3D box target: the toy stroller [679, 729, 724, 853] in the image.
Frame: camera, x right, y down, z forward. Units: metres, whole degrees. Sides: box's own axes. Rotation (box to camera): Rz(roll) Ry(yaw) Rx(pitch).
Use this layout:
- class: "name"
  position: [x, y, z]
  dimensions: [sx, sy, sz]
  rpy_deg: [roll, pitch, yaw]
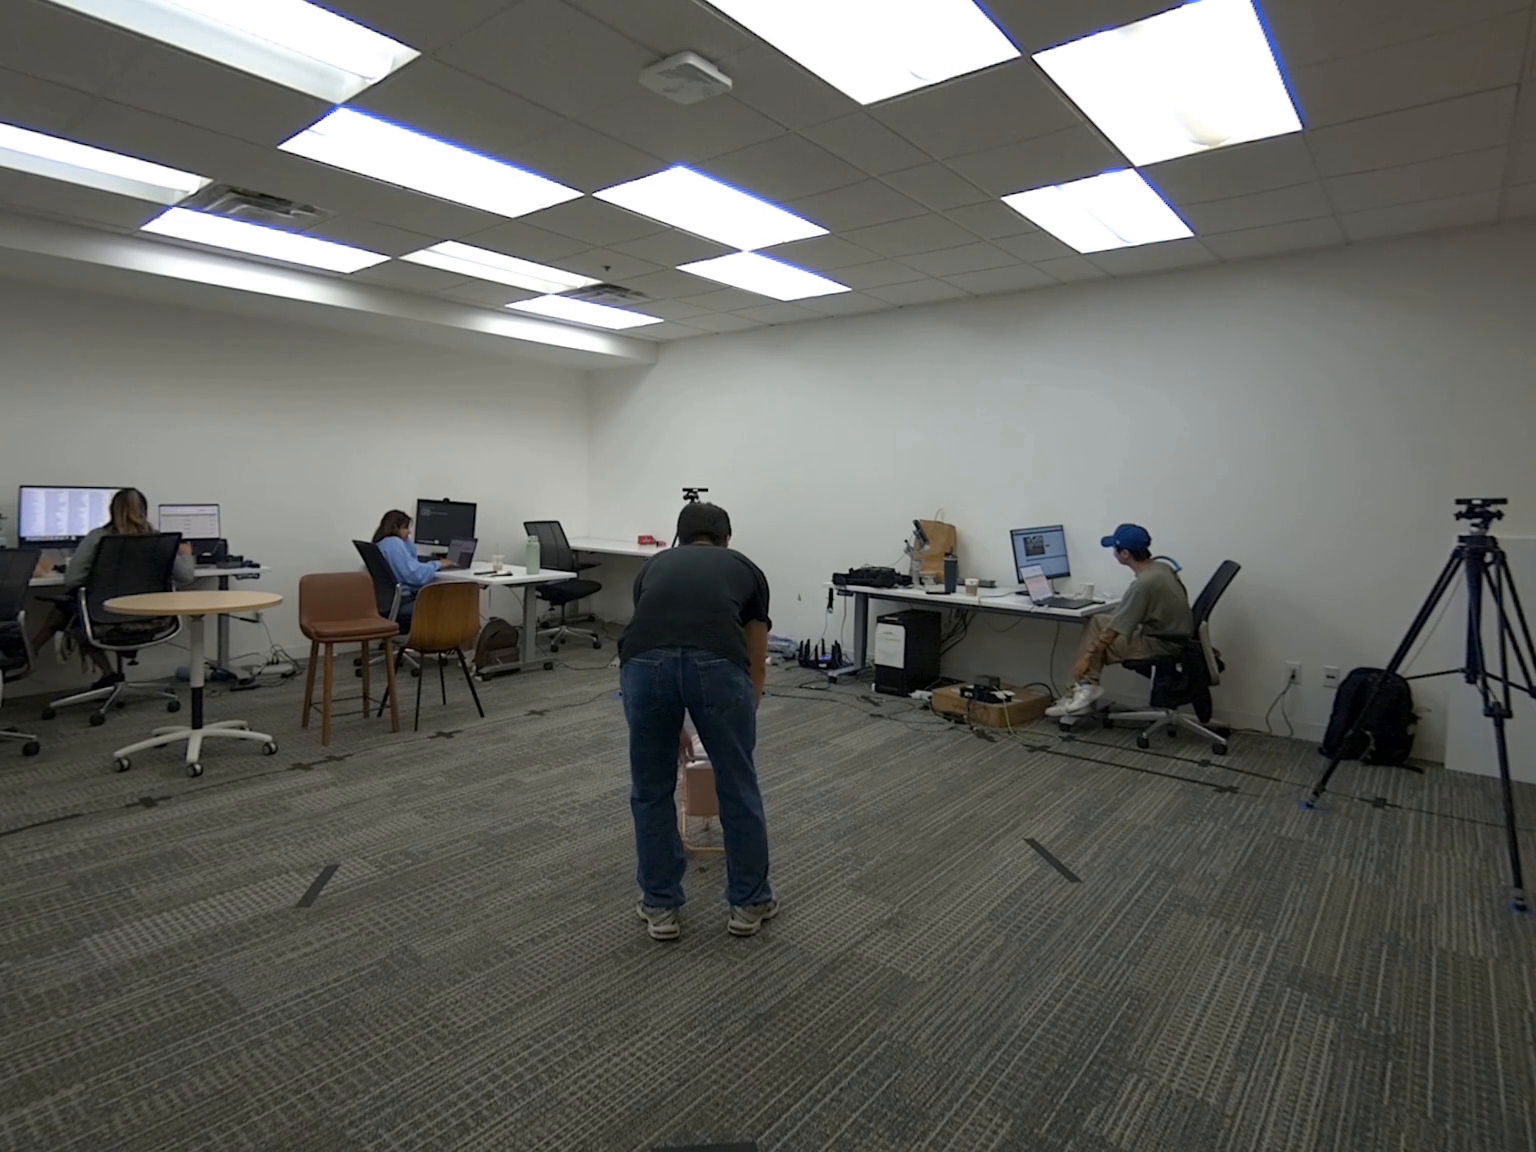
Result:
- class: "toy stroller"
  position: [-0.244, 0.834, 3.296]
  dimensions: [0.281, 0.526, 0.347]
  rpy_deg: [-1, 18, -2]
